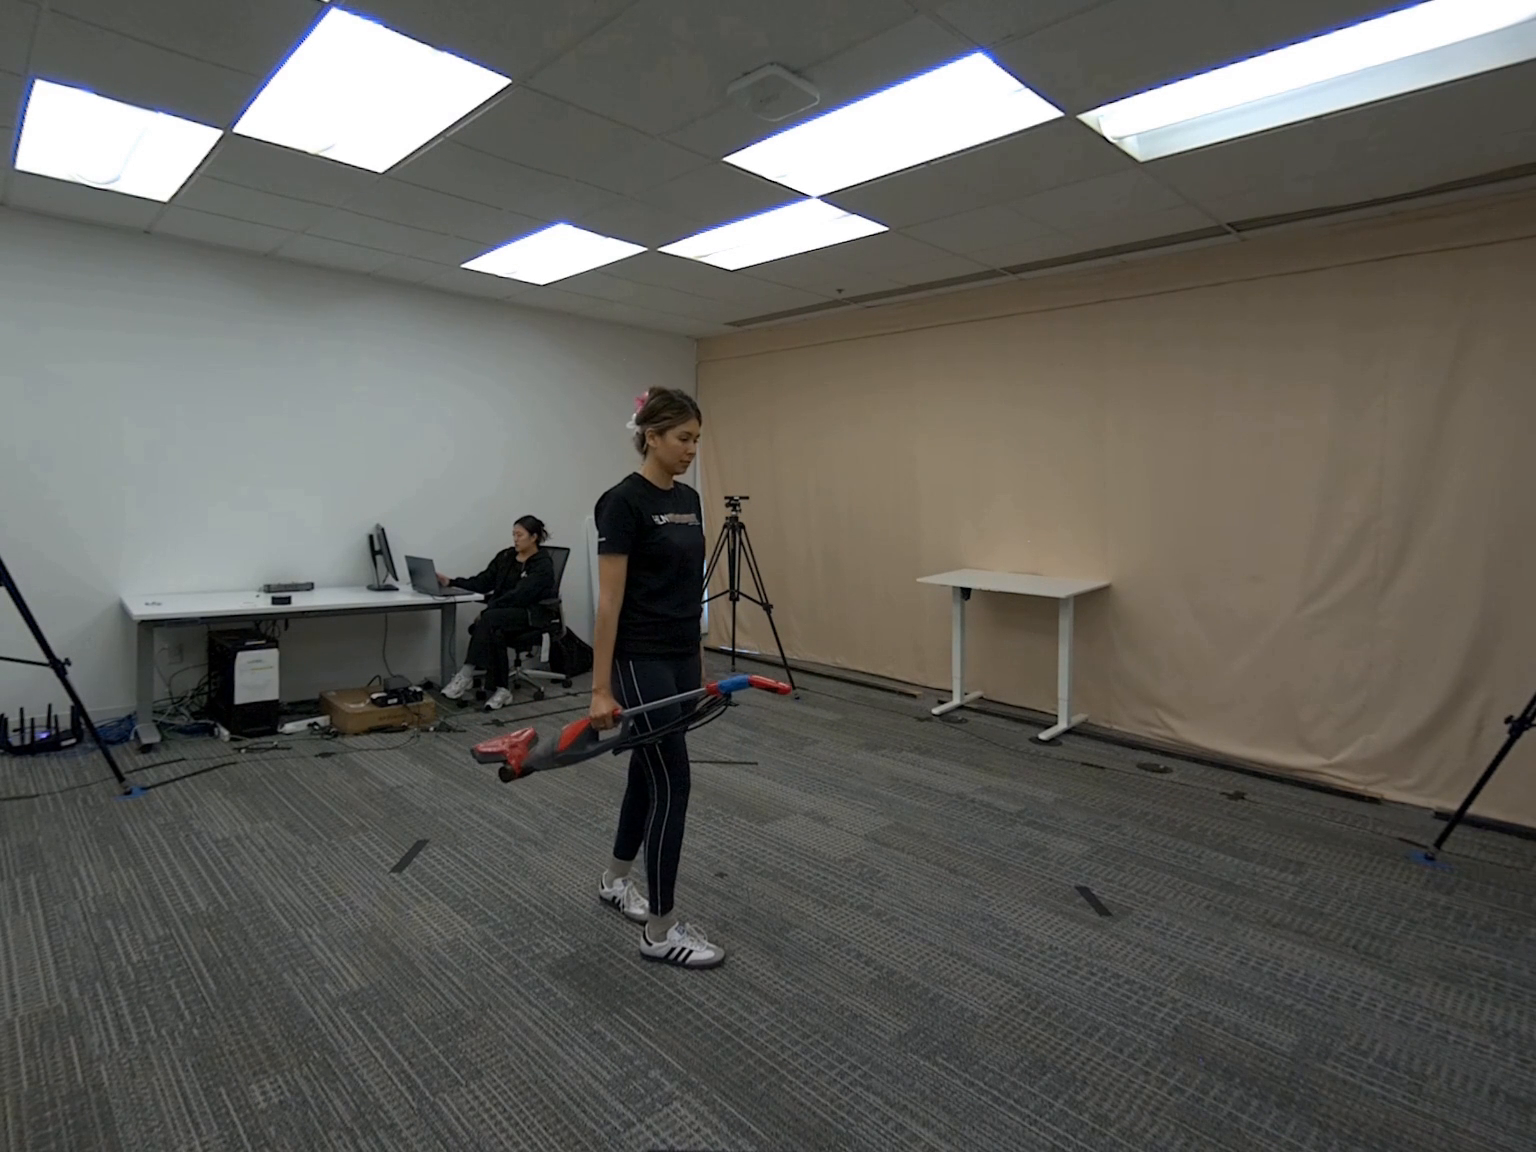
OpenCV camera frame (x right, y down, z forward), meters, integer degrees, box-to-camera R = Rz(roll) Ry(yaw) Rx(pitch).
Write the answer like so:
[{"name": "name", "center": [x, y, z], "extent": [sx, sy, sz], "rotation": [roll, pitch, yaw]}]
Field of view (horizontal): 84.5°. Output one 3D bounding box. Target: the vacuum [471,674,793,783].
[{"name": "vacuum", "center": [-0.386, 0.429, 2.322], "extent": [1.064, 0.144, 0.248], "rotation": [-18, -3, 31]}]
